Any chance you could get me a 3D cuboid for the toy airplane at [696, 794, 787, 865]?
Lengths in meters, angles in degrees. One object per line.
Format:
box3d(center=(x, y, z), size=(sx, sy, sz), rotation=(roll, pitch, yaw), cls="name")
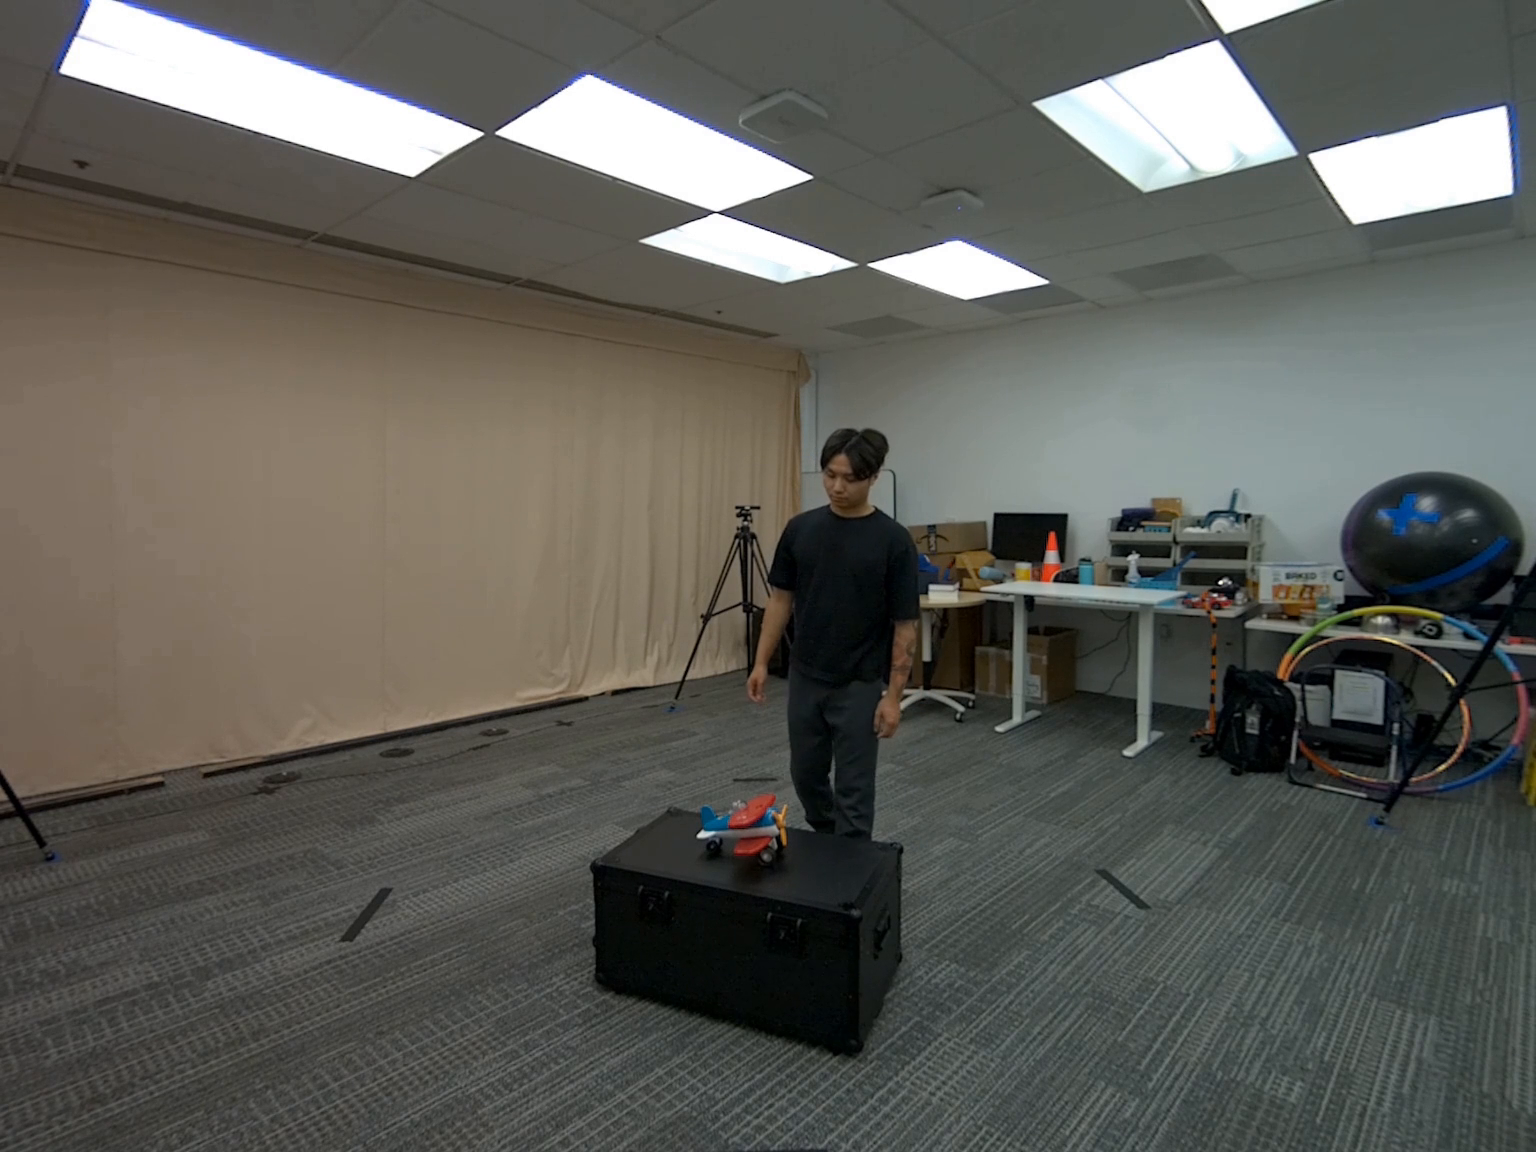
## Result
box3d(center=(-0.073, 0.739, 2.436), size=(0.257, 0.156, 0.253), rotation=(0, 4, -8), cls="toy airplane")
